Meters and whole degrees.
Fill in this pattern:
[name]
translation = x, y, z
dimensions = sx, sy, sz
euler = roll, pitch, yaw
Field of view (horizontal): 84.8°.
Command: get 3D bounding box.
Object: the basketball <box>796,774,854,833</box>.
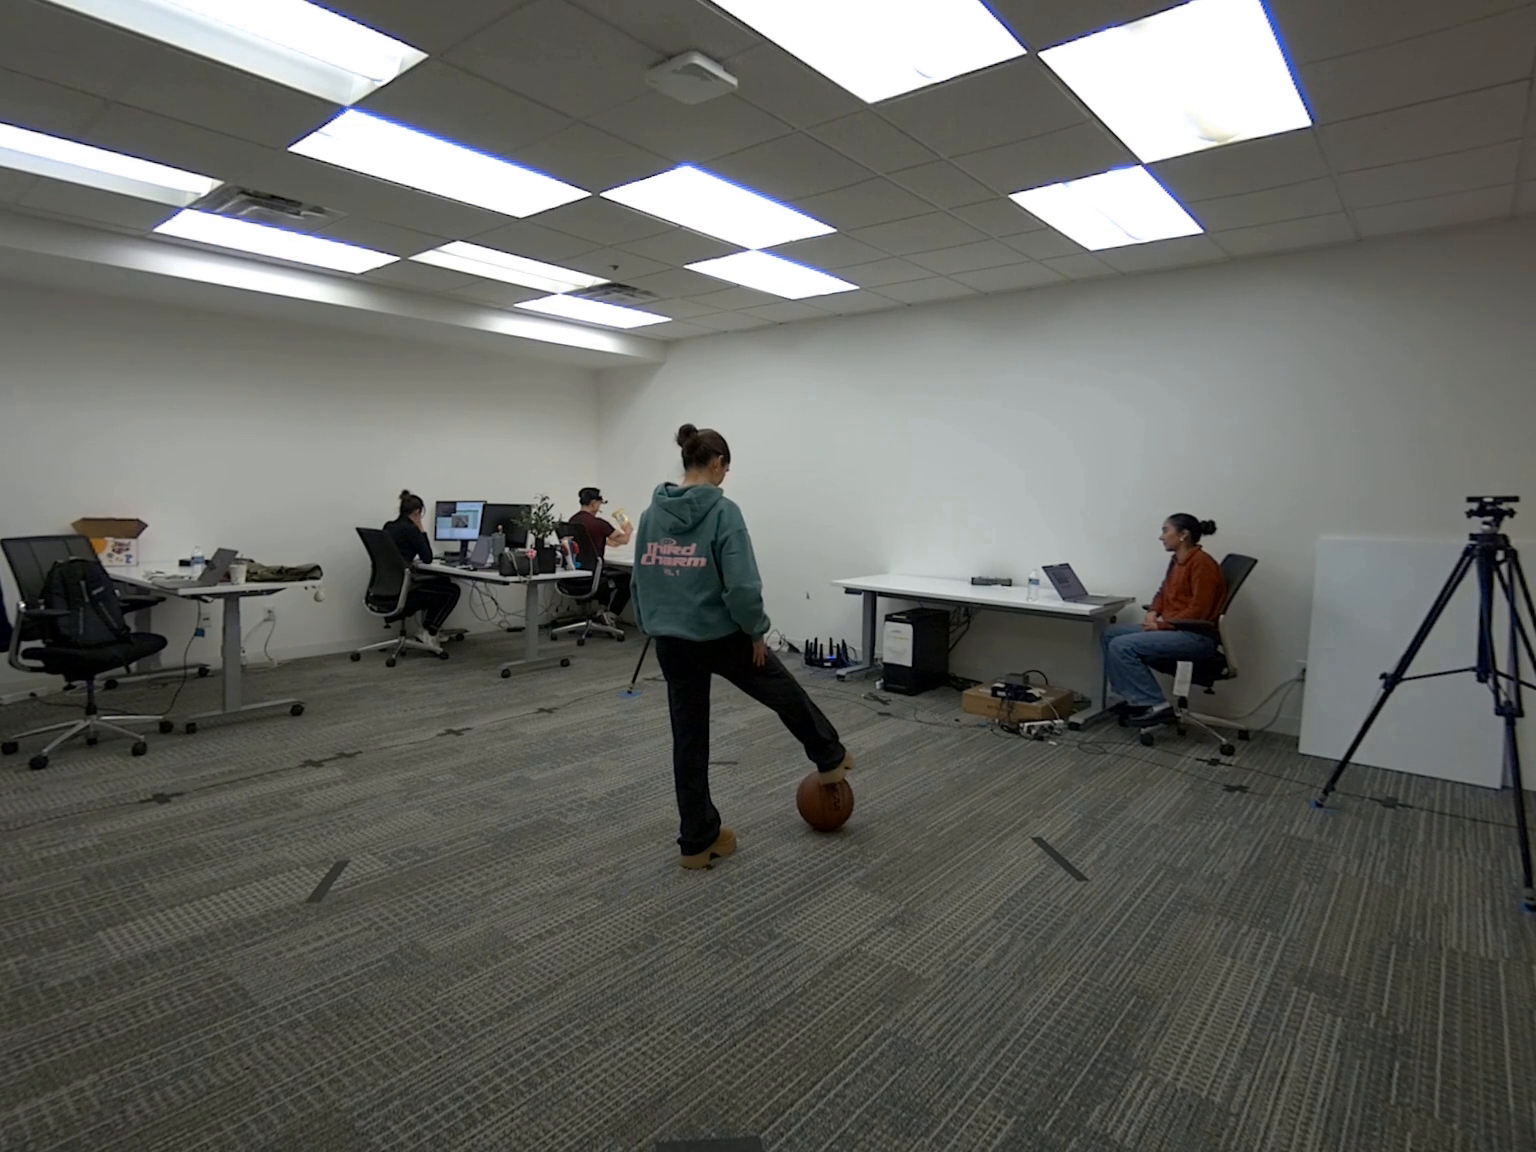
[basketball]
translation = 0.224, 0.917, 3.498
dimensions = 0.236, 0.235, 0.237
euler = 1, 4, -2
